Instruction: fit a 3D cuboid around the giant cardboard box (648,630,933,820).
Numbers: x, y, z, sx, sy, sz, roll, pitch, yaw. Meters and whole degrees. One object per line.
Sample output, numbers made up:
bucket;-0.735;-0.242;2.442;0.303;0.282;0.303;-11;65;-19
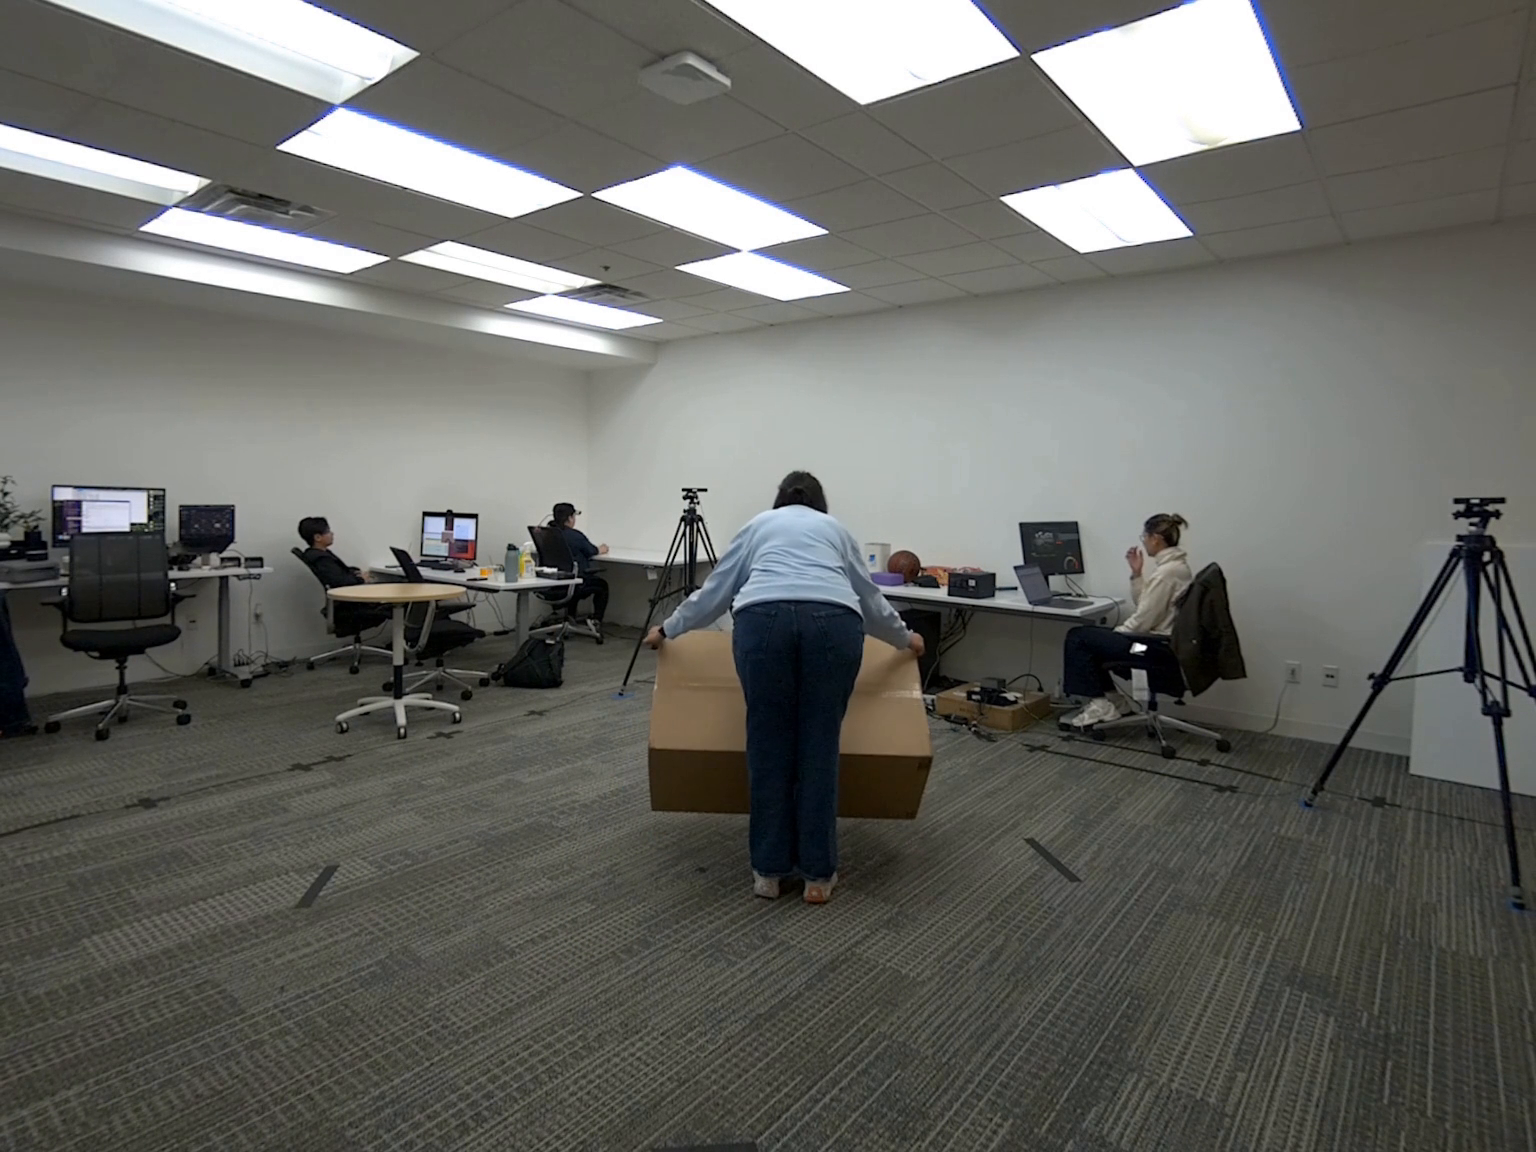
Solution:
giant cardboard box;0.061;0.572;3.378;1.026;0.414;0.593;2;42;0
